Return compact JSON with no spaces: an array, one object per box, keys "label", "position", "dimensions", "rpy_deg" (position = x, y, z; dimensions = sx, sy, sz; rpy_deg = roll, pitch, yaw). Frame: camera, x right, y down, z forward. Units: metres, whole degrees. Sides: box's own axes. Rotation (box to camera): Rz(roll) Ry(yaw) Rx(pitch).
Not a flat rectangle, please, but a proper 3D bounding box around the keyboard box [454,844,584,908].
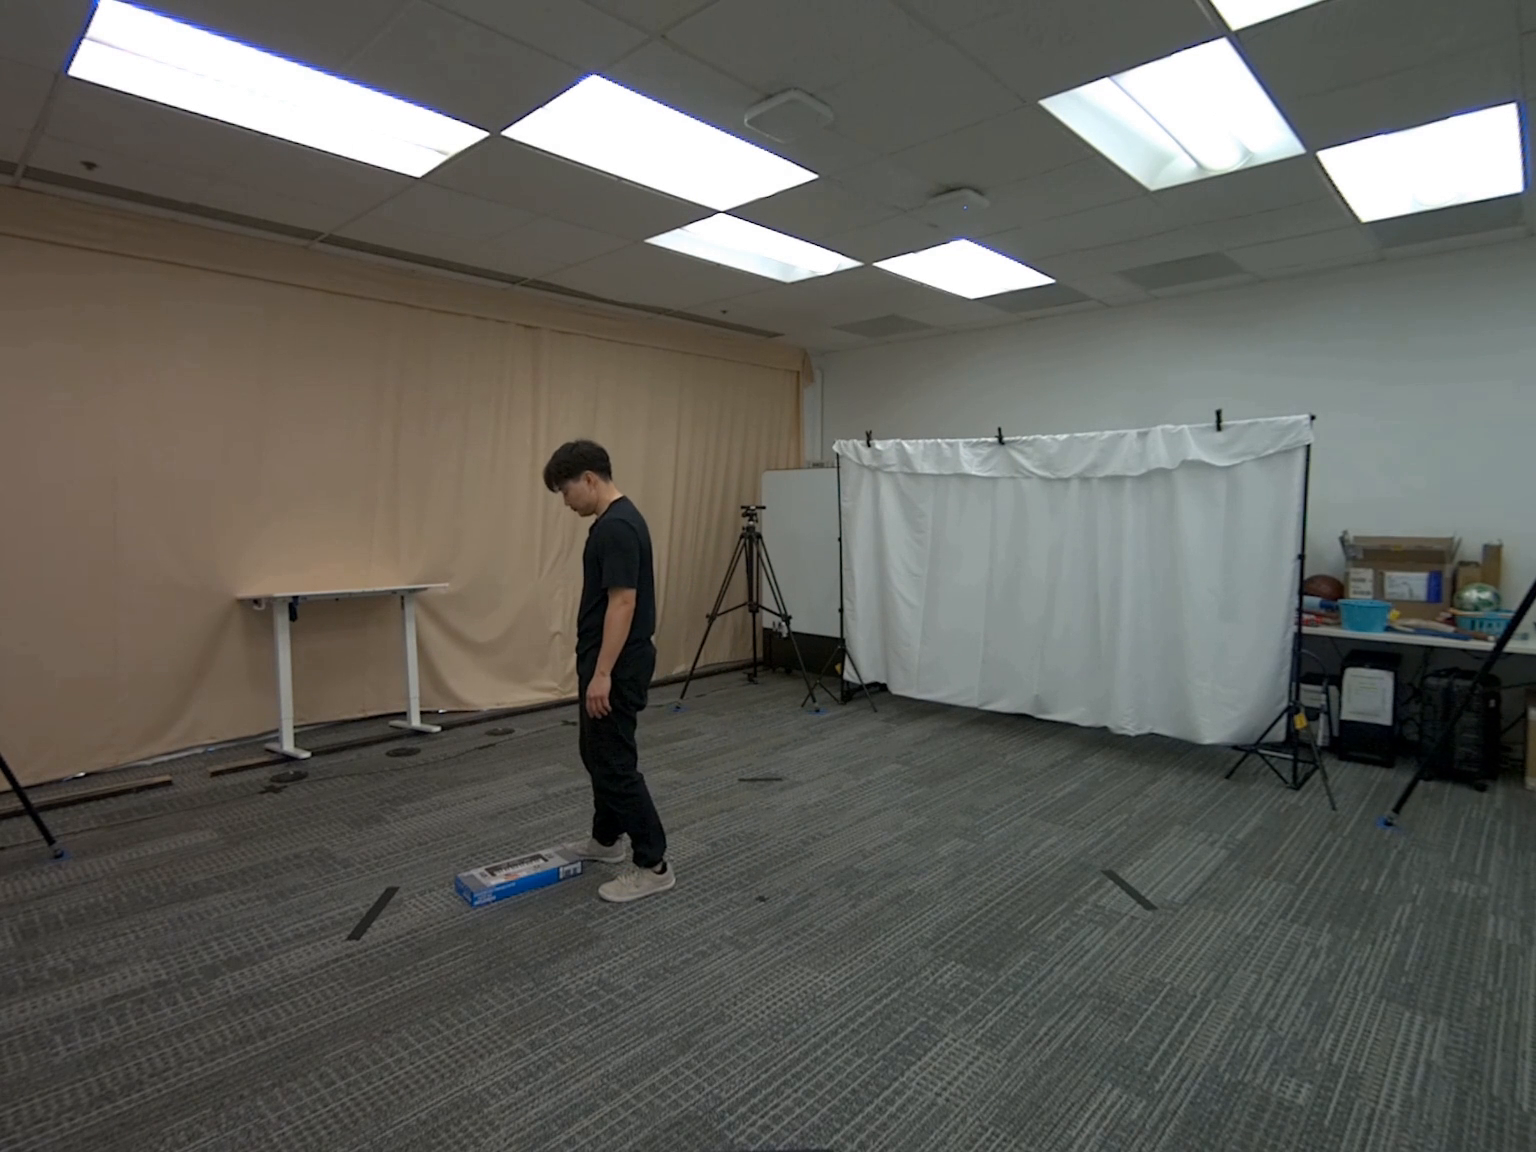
[{"label":"keyboard box","position":[-0.923,1.114,3.124],"dimensions":[0.424,0.059,0.182],"rpy_deg":[-4,6,-38]}]
